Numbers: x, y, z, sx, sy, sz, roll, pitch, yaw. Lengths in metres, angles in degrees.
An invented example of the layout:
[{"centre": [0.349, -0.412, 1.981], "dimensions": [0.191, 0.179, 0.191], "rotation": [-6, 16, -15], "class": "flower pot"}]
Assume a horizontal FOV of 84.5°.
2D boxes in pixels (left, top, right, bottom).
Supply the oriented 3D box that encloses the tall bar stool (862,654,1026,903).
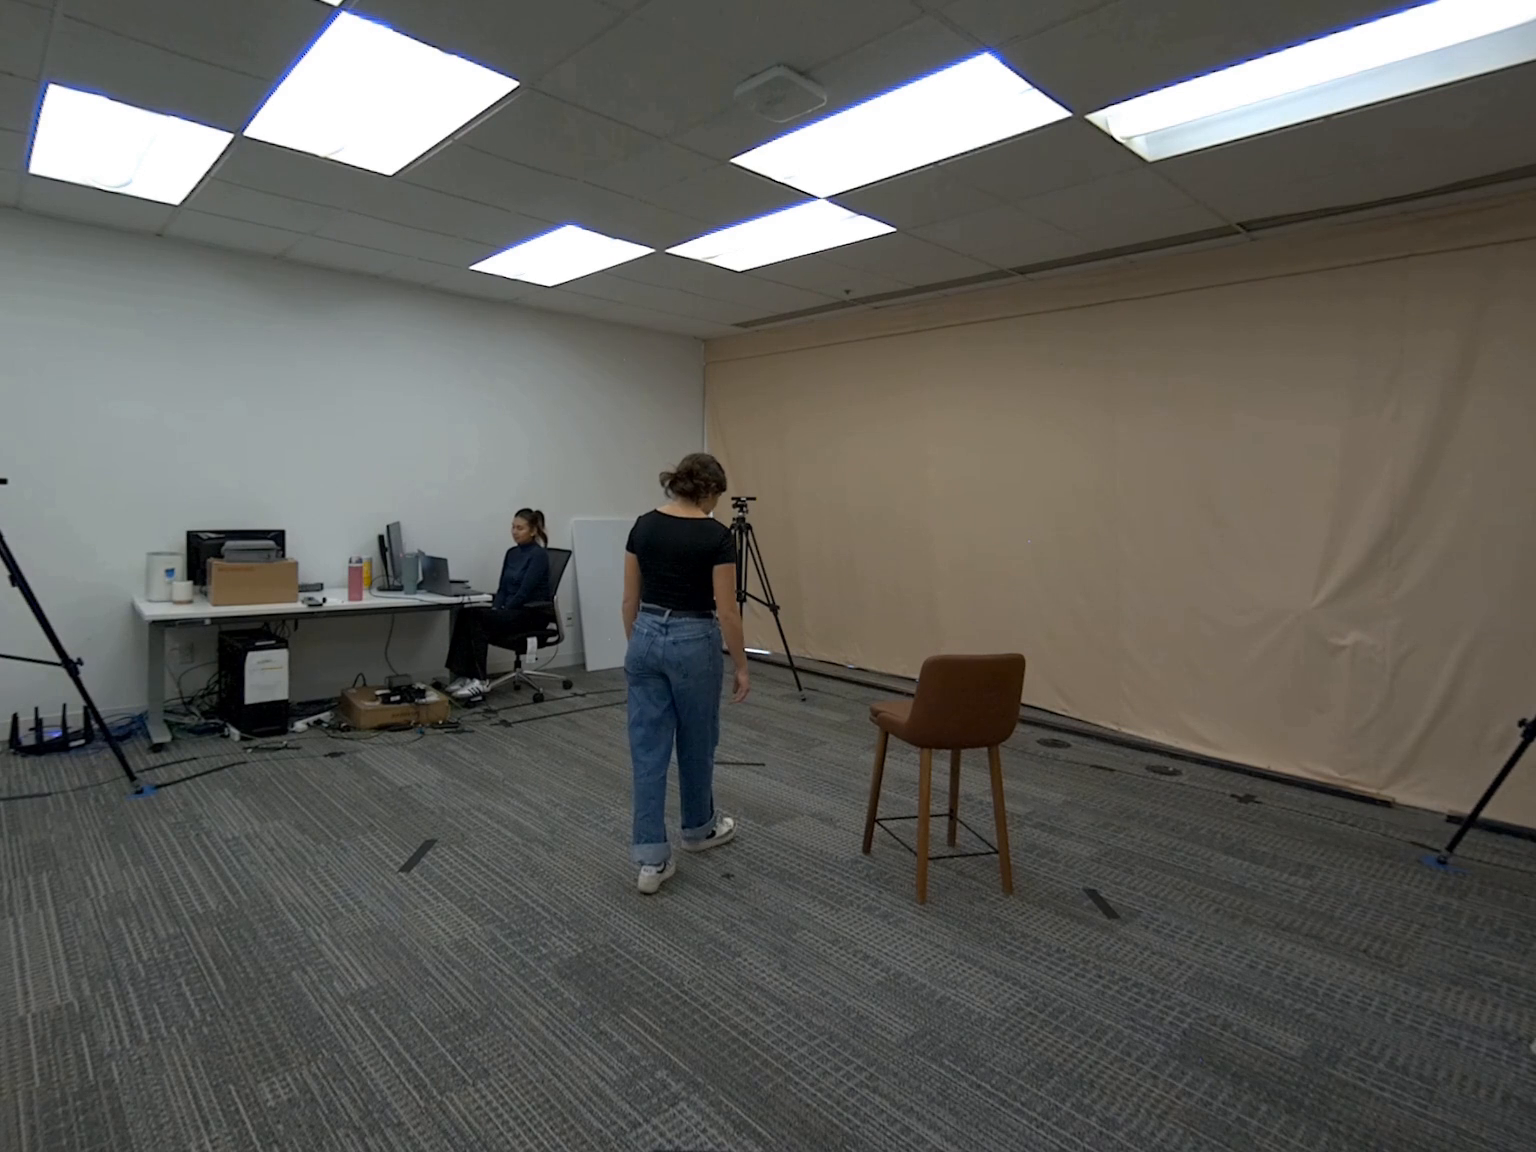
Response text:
[{"centre": [0.644, 0.684, 3.157], "dimensions": [0.450, 0.886, 0.475], "rotation": [1, 6, -17], "class": "tall bar stool"}]
